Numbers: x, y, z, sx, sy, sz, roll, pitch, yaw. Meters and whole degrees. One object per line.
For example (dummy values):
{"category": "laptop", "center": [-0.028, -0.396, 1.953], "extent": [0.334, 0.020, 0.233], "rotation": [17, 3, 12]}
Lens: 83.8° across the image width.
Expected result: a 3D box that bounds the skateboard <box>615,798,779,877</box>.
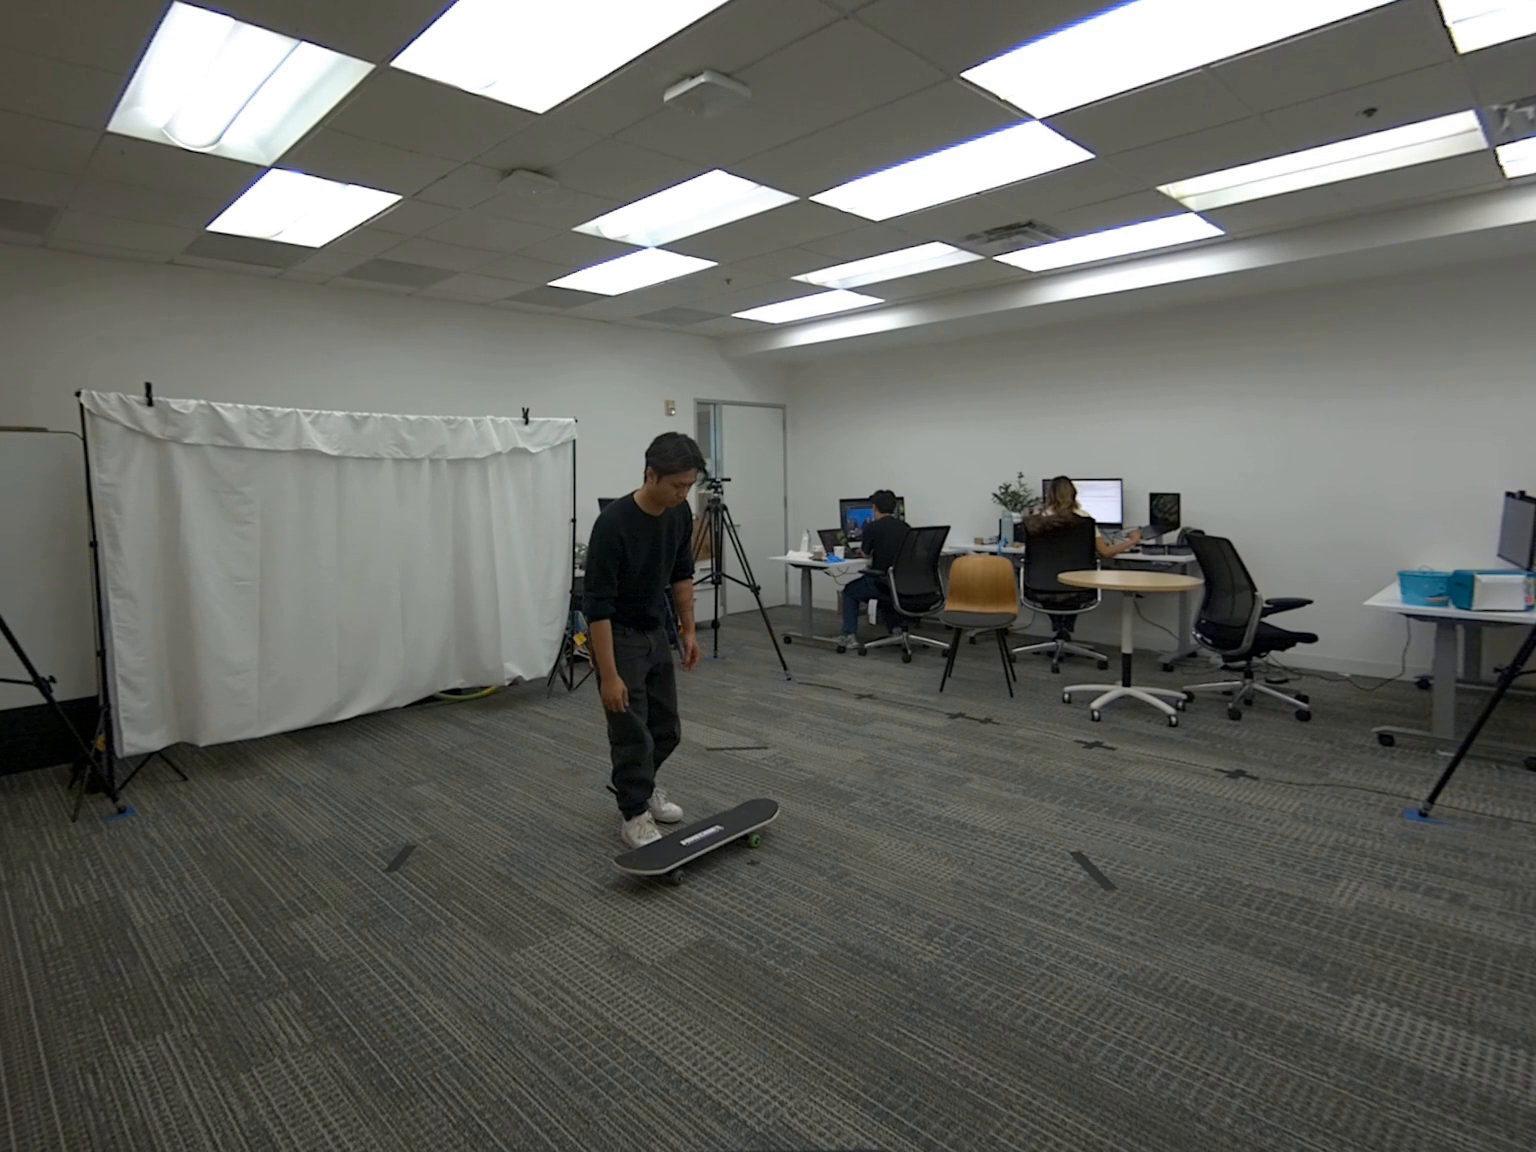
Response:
{"category": "skateboard", "center": [-0.242, 0.978, 3.149], "extent": [0.199, 0.110, 0.765], "rotation": [5, 9, 40]}
